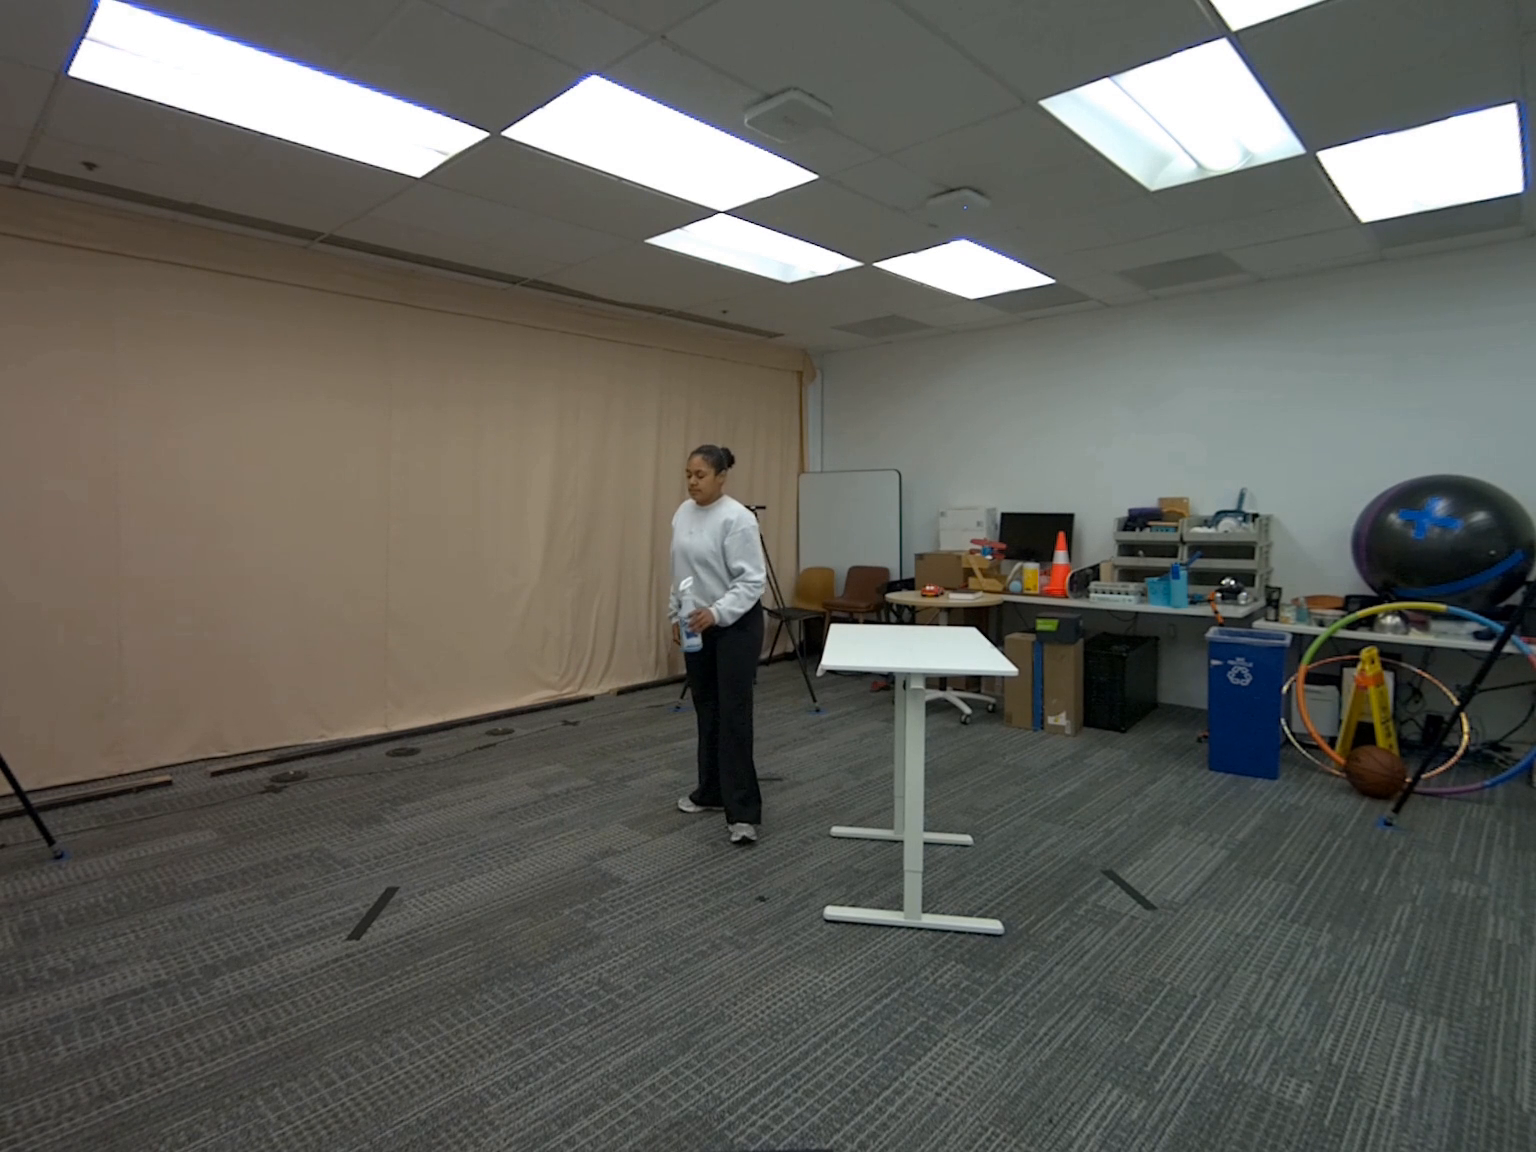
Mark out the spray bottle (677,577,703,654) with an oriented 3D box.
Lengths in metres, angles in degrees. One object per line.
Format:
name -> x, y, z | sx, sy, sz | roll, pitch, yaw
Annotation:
spray bottle -> -0.318, 0.166, 3.447 | 0.088, 0.295, 0.090 | -10, 17, -34
